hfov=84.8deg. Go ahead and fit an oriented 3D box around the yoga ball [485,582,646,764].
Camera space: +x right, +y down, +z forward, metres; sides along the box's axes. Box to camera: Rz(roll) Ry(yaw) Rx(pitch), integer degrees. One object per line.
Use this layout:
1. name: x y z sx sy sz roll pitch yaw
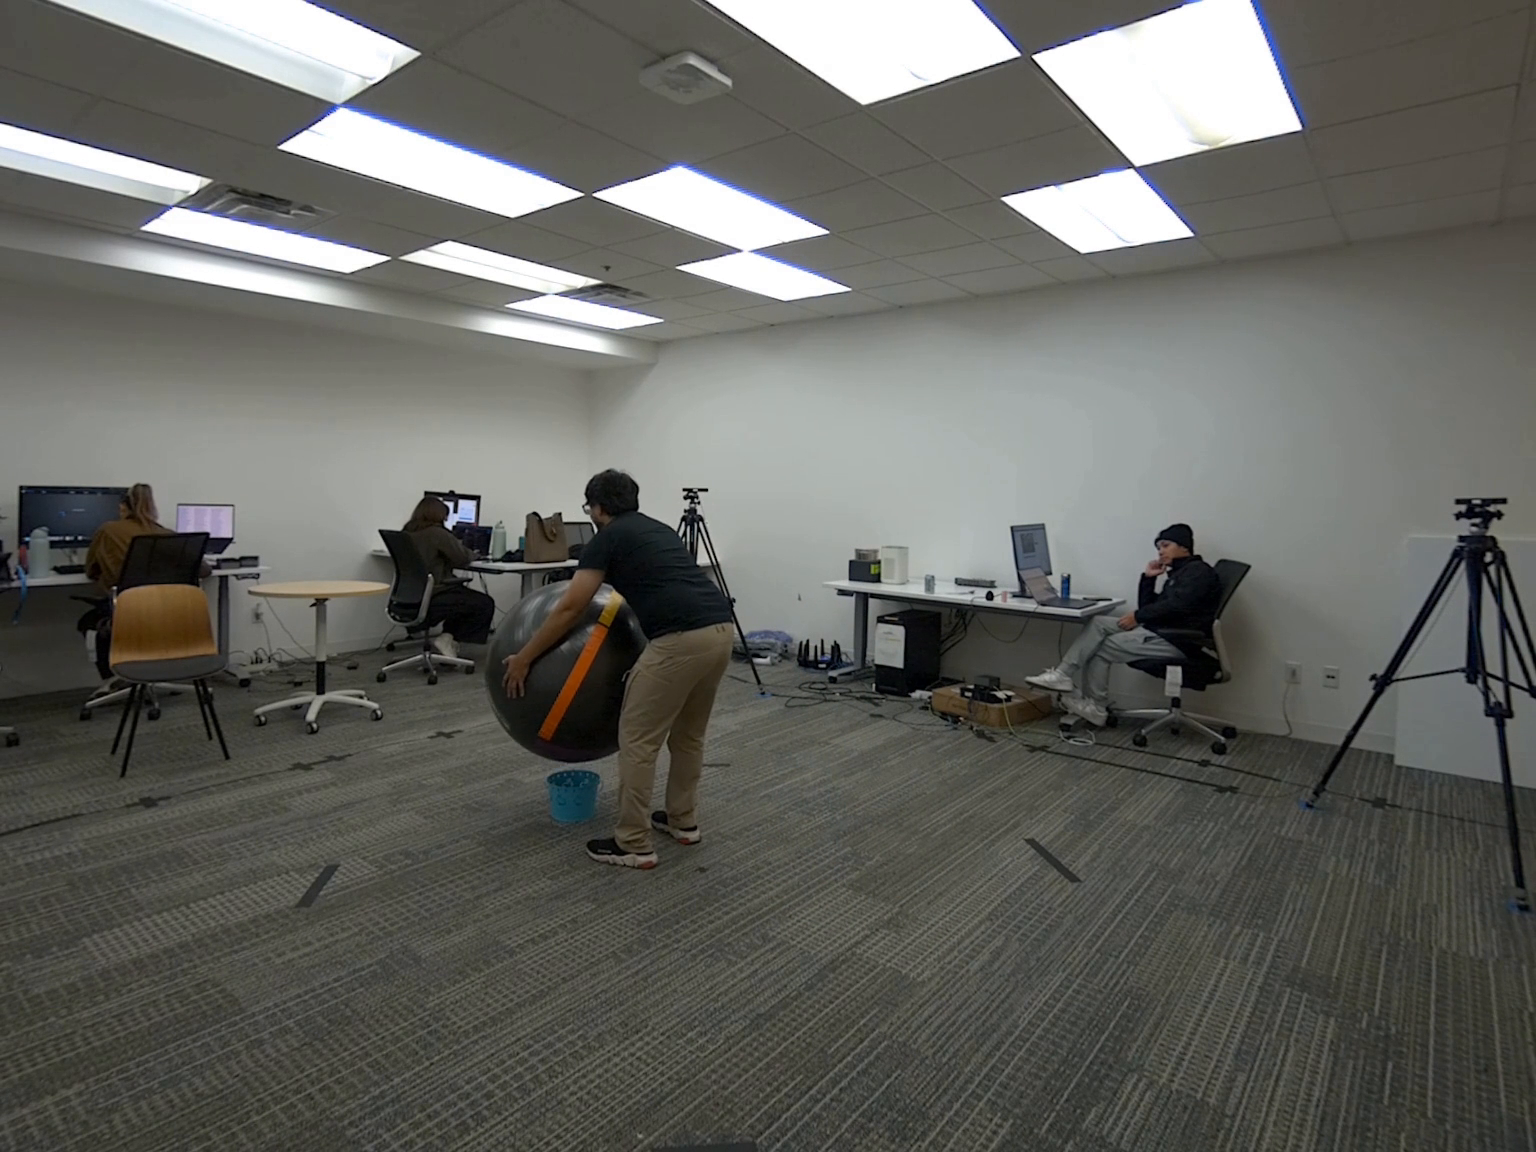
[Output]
1. yoga ball: -0.816 0.397 3.586 0.757 0.755 0.762 1 4 -2
